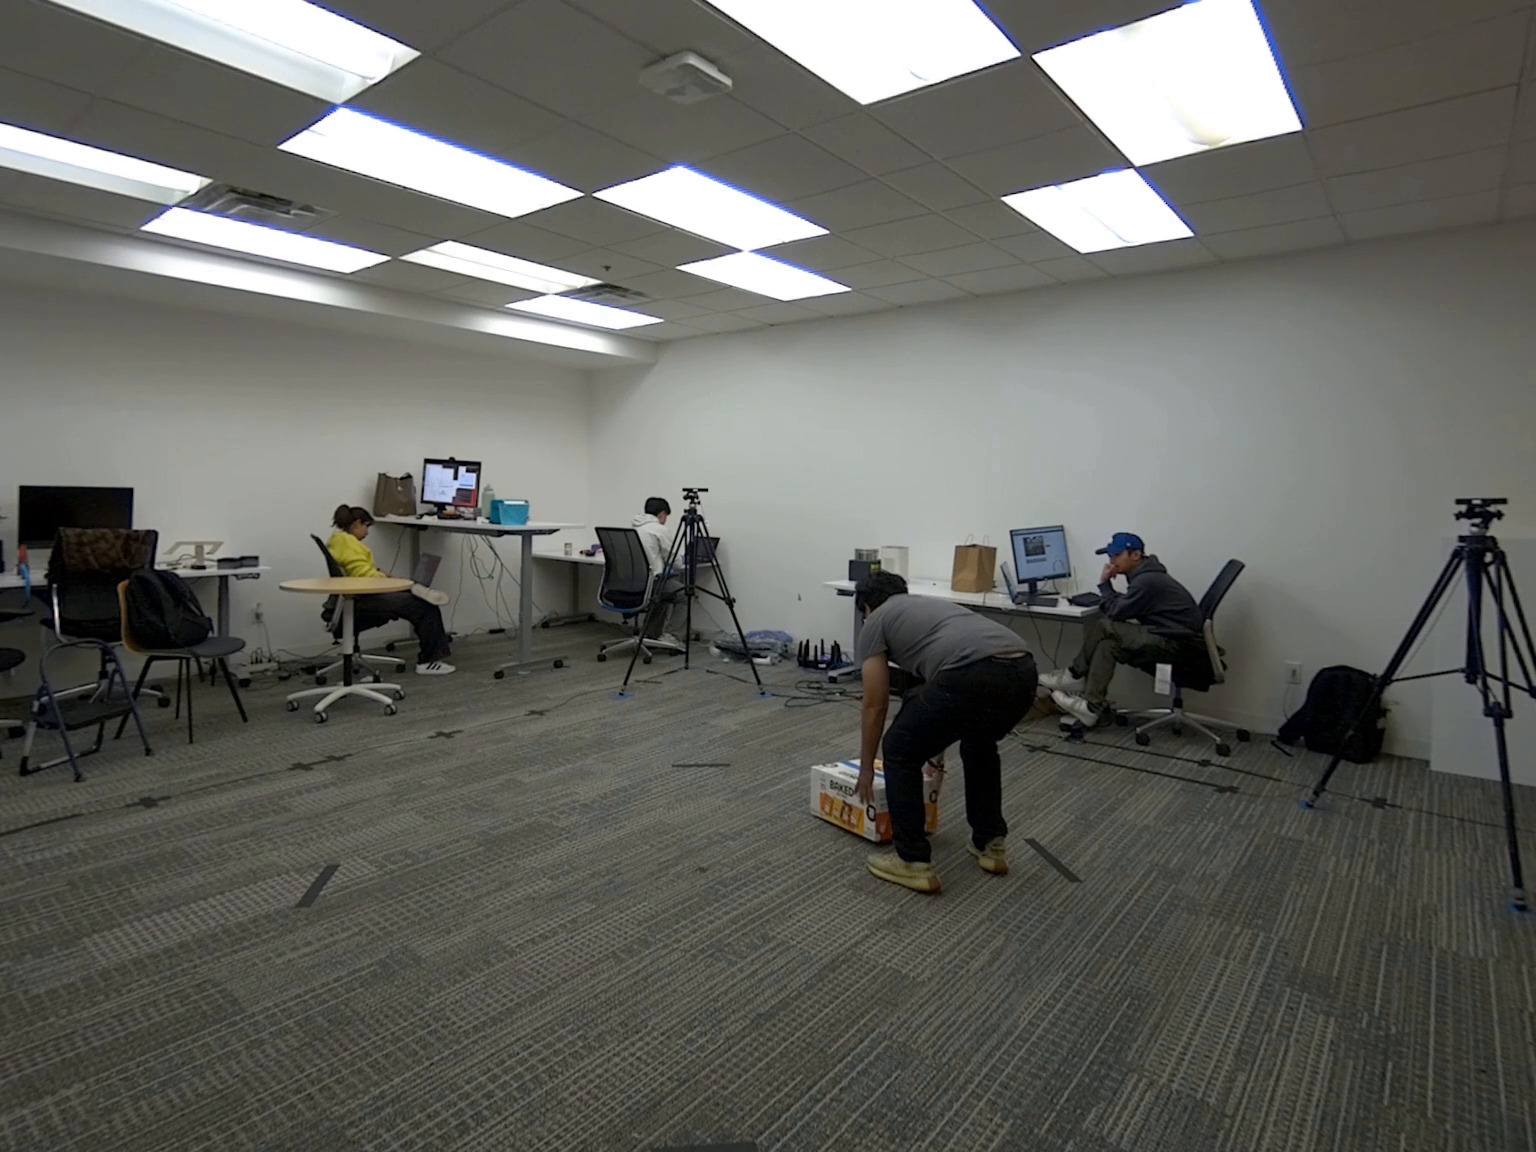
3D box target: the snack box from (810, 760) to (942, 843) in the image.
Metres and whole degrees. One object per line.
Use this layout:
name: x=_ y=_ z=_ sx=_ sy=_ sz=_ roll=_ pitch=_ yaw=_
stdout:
snack box: x=0.430 y=0.922 z=3.571 sx=0.330 sy=0.206 sz=0.417 roll=0 pitch=2 yaw=-34
